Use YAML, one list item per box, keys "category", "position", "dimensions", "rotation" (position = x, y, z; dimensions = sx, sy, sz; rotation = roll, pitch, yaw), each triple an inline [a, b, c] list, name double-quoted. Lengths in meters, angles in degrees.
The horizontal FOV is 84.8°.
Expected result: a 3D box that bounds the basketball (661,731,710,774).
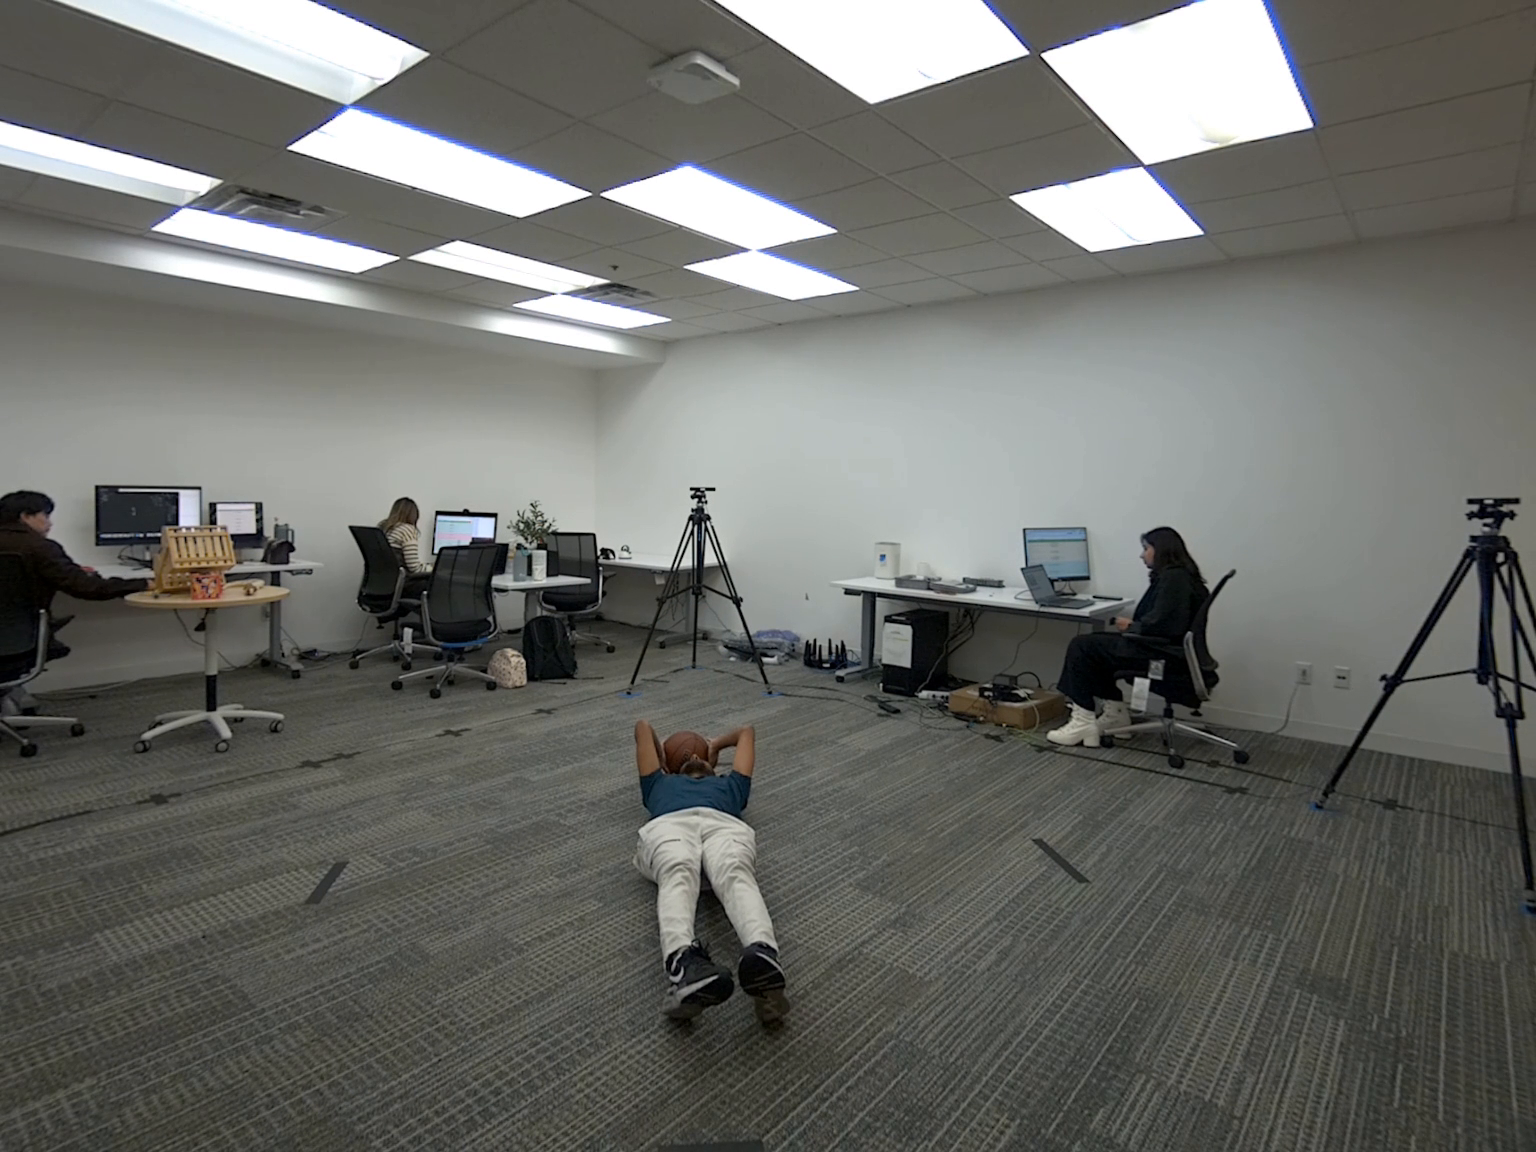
- category: "basketball"
  position: [-0.409, 0.851, 4.036]
  dimensions: [0.235, 0.235, 0.237]
  rotation: [1, 4, -2]
